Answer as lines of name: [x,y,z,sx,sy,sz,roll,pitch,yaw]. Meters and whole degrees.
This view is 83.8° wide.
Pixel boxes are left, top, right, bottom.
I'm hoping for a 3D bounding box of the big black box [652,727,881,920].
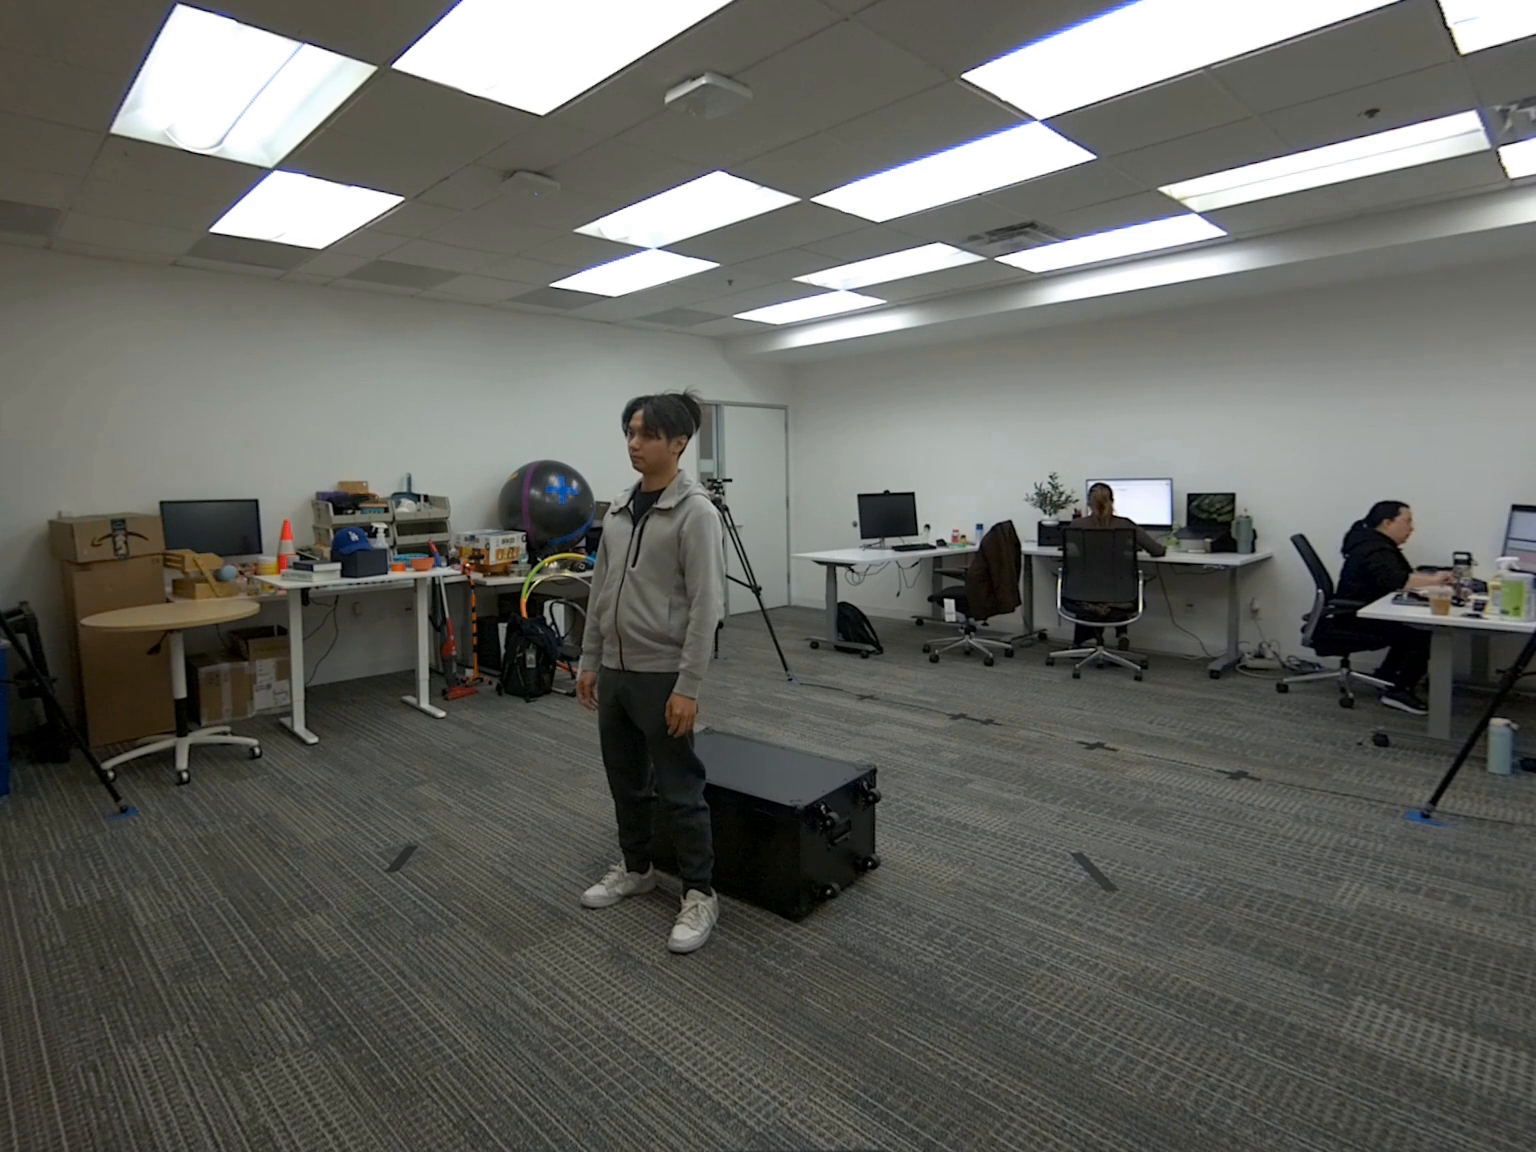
big black box: [-0.088,0.857,3.117,0.887,0.394,0.508,4,7,38]
